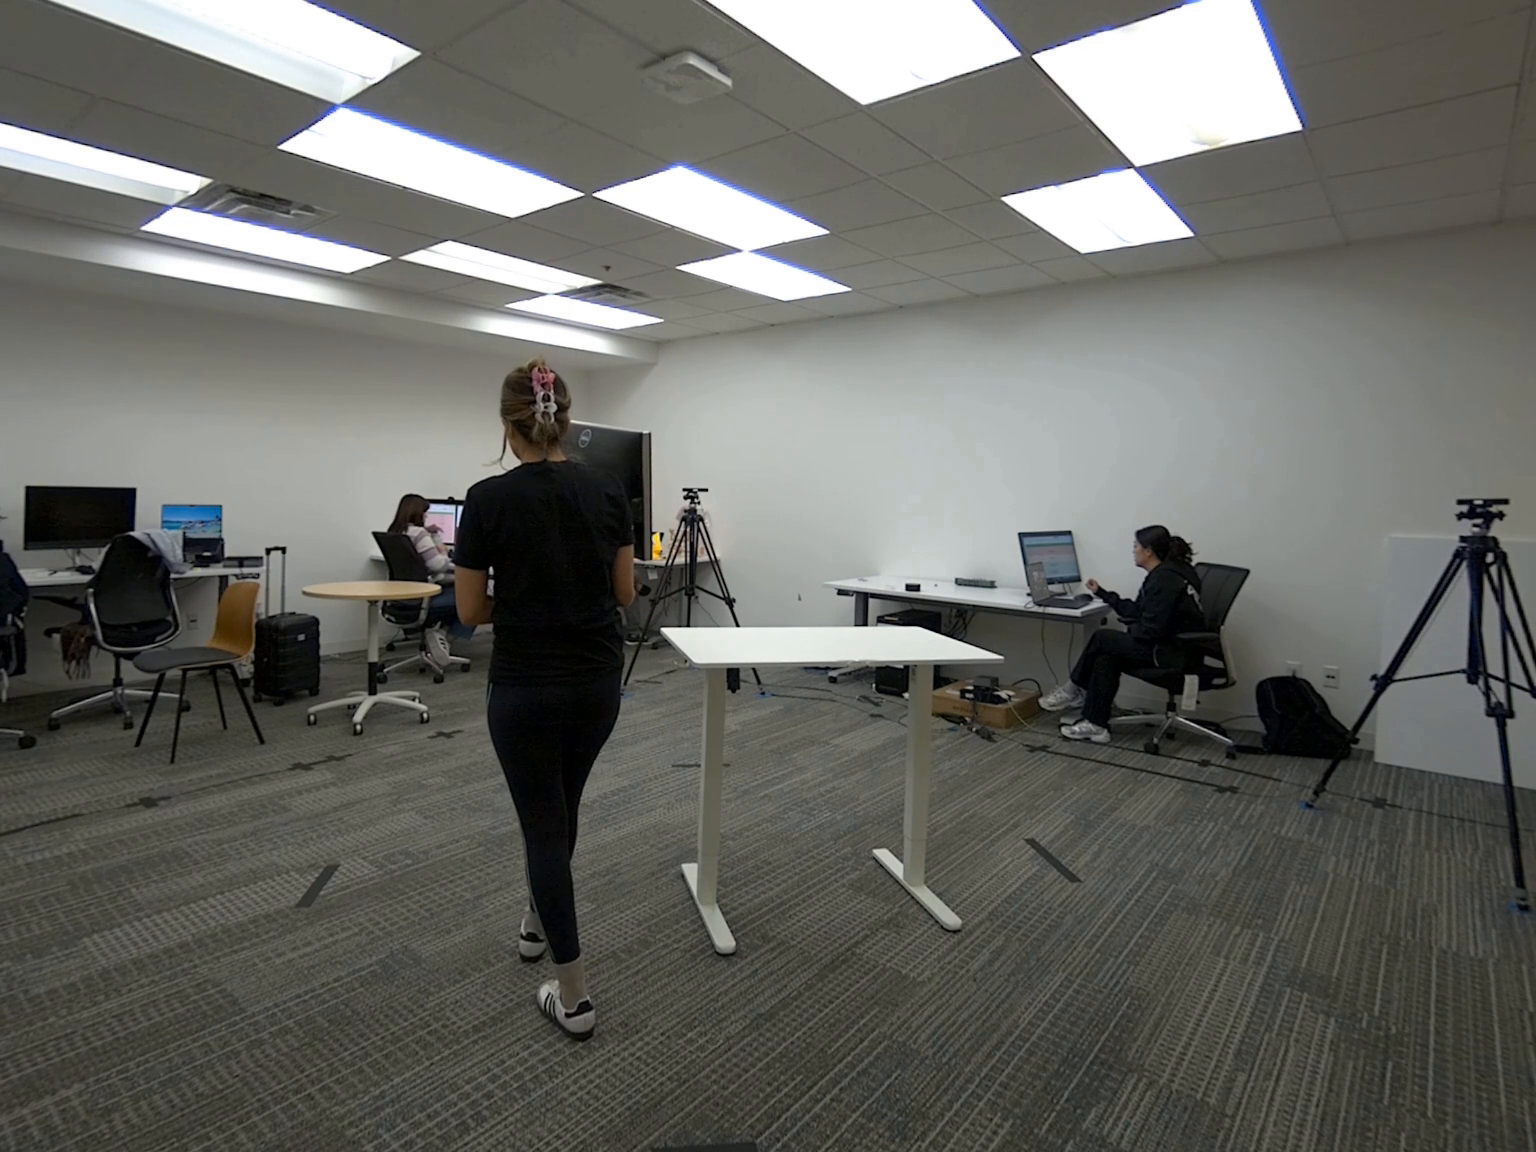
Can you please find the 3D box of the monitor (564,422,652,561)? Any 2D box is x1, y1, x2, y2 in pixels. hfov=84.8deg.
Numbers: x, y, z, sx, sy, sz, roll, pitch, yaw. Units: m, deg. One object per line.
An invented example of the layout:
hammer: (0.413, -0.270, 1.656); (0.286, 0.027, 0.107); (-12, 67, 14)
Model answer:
monitor: (-0.565, -0.186, 2.541); (0.180, 0.521, 0.560); (7, 6, -43)
